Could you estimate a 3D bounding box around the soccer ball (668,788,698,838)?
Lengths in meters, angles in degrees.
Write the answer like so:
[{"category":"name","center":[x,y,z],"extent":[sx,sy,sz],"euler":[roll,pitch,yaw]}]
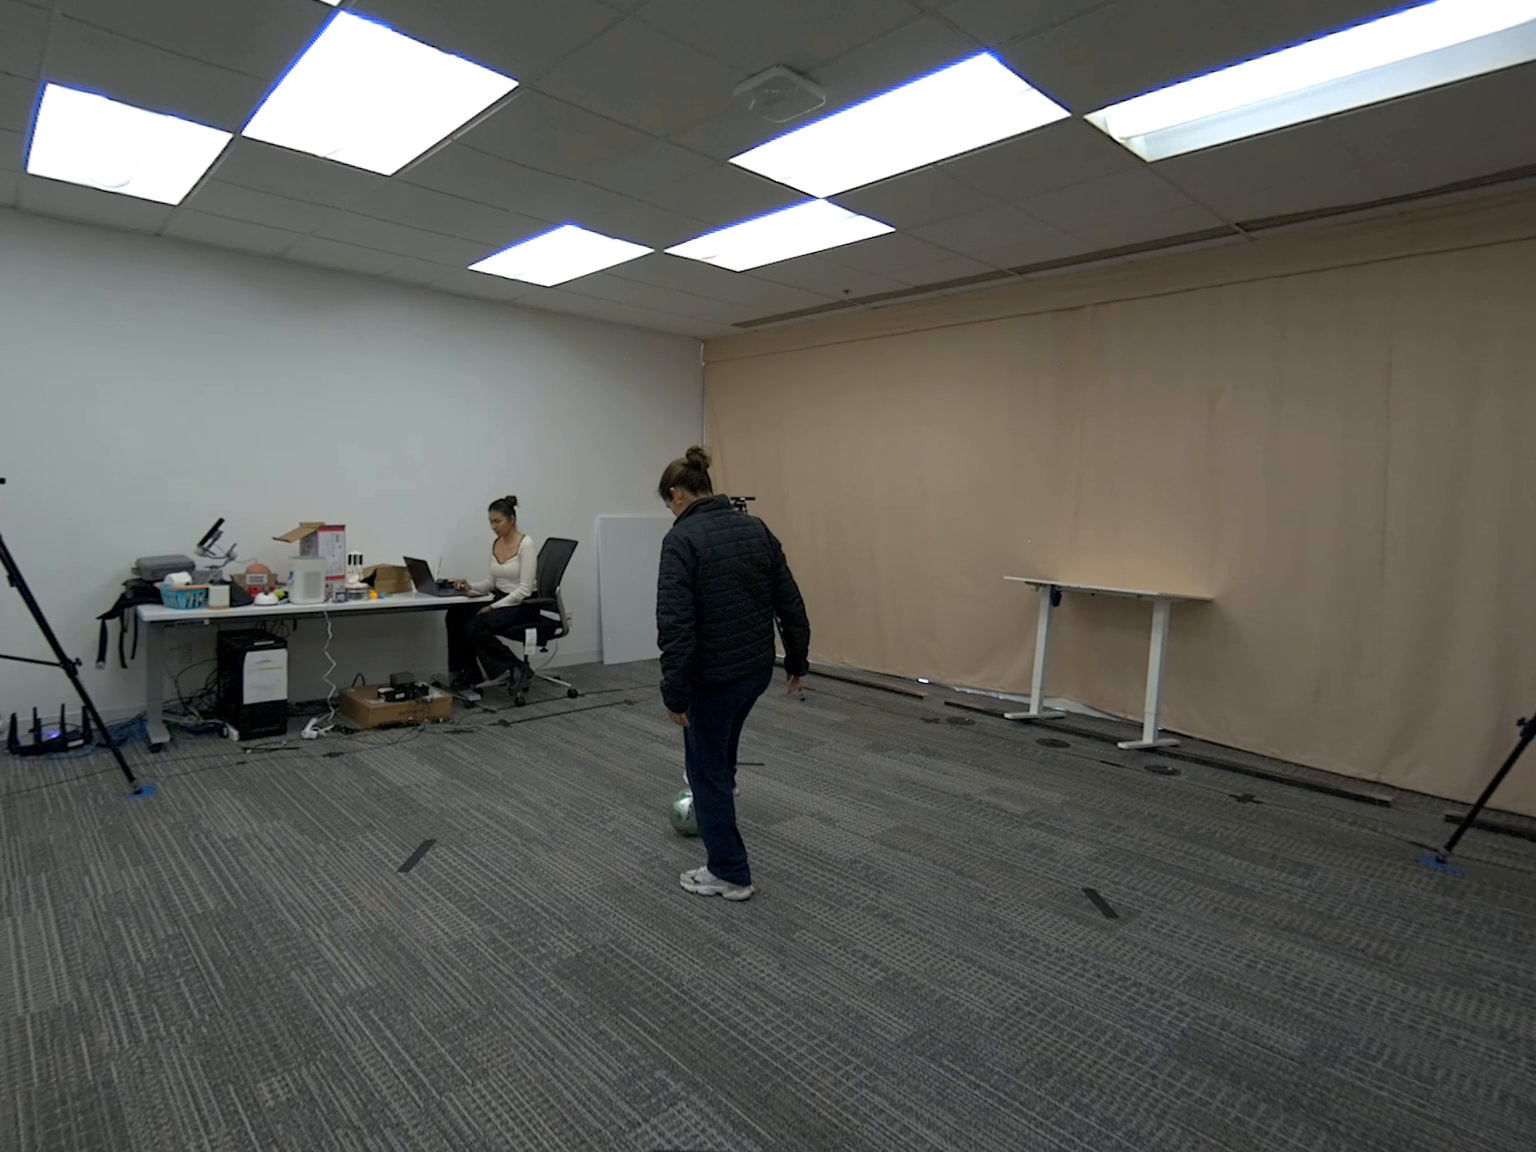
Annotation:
[{"category":"soccer ball","center":[-0.315,0.964,3.483],"extent":[0.187,0.187,0.188],"euler":[1,4,-1]}]
